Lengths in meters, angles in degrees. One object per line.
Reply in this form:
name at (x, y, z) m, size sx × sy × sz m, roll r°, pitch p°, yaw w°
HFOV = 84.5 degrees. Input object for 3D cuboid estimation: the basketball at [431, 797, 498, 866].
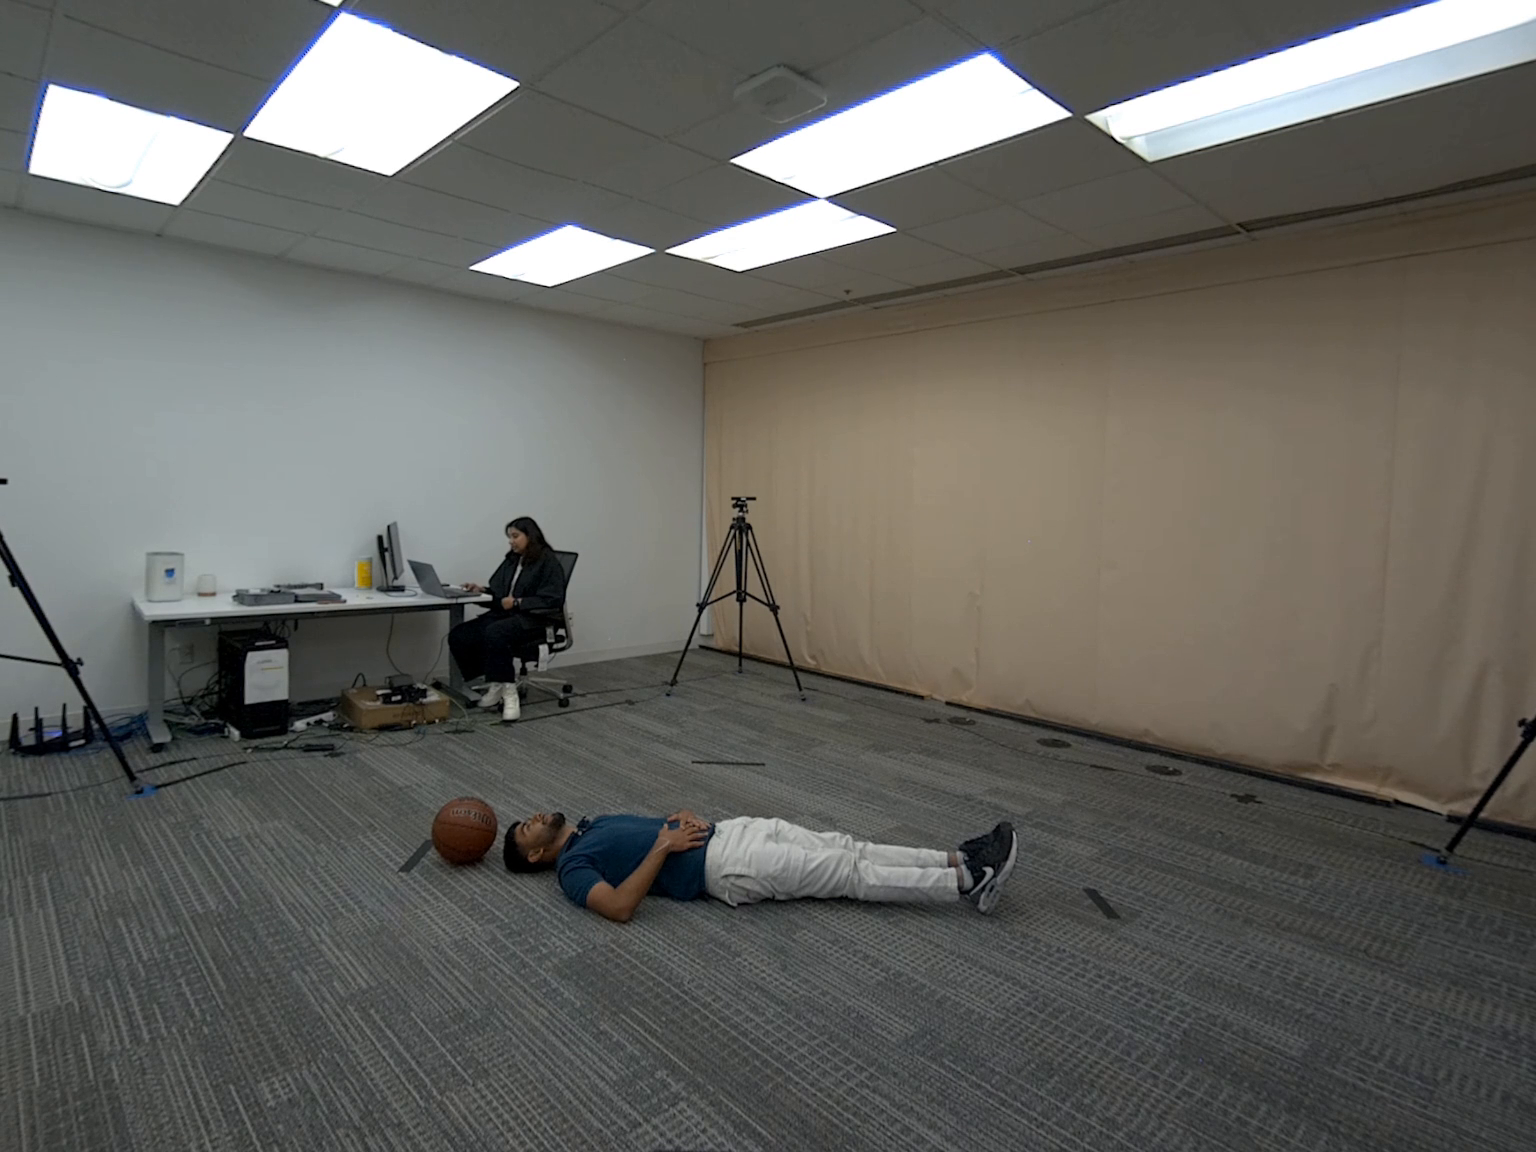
basketball at (-1.155, 0.958, 3.178) m, size 0.236 × 0.235 × 0.237 m, roll 1°, pitch 4°, yaw -1°
